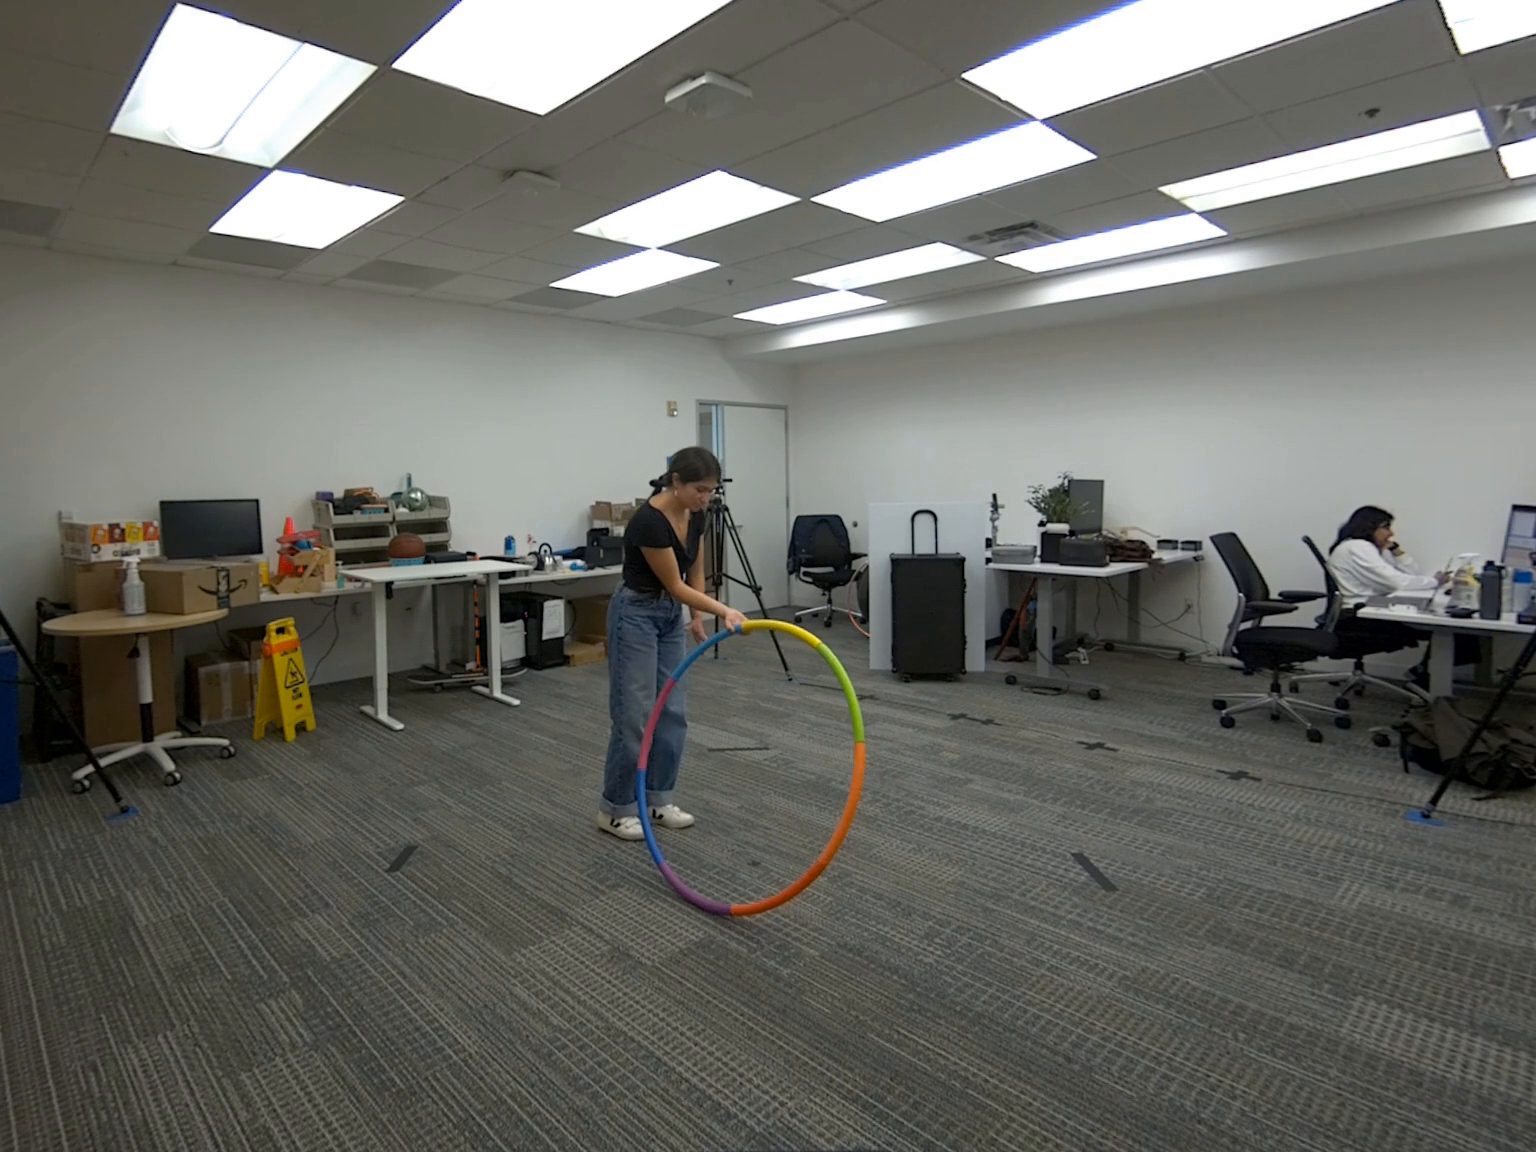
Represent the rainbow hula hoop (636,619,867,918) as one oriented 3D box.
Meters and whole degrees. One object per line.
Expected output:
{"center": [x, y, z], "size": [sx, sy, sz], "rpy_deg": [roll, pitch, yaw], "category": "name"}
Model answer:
{"center": [-0.096, 0.630, 2.912], "size": [1.009, 0.987, 0.034], "rpy_deg": [4, -19, 43], "category": "rainbow hula hoop"}
